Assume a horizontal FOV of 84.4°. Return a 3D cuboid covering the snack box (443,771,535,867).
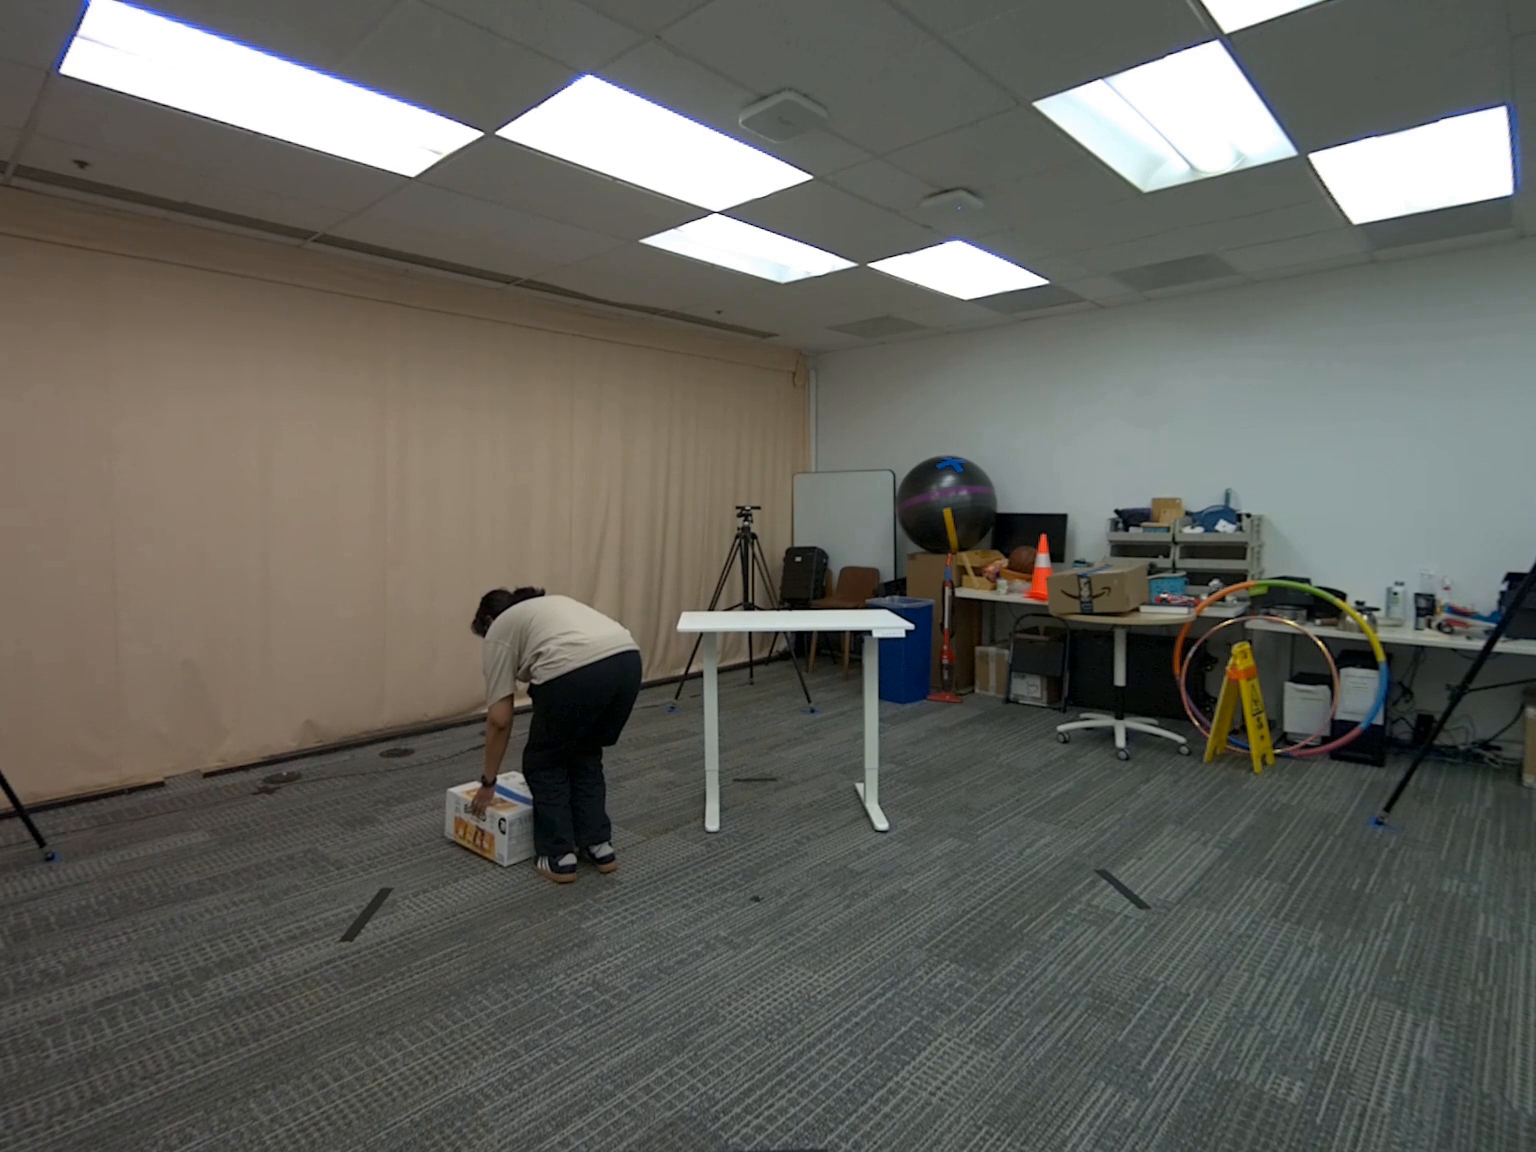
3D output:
[{"bbox_3d":[-1.074,0.997,3.492,0.419,0.205,0.330,6,7,37],"label":"snack box"}]
